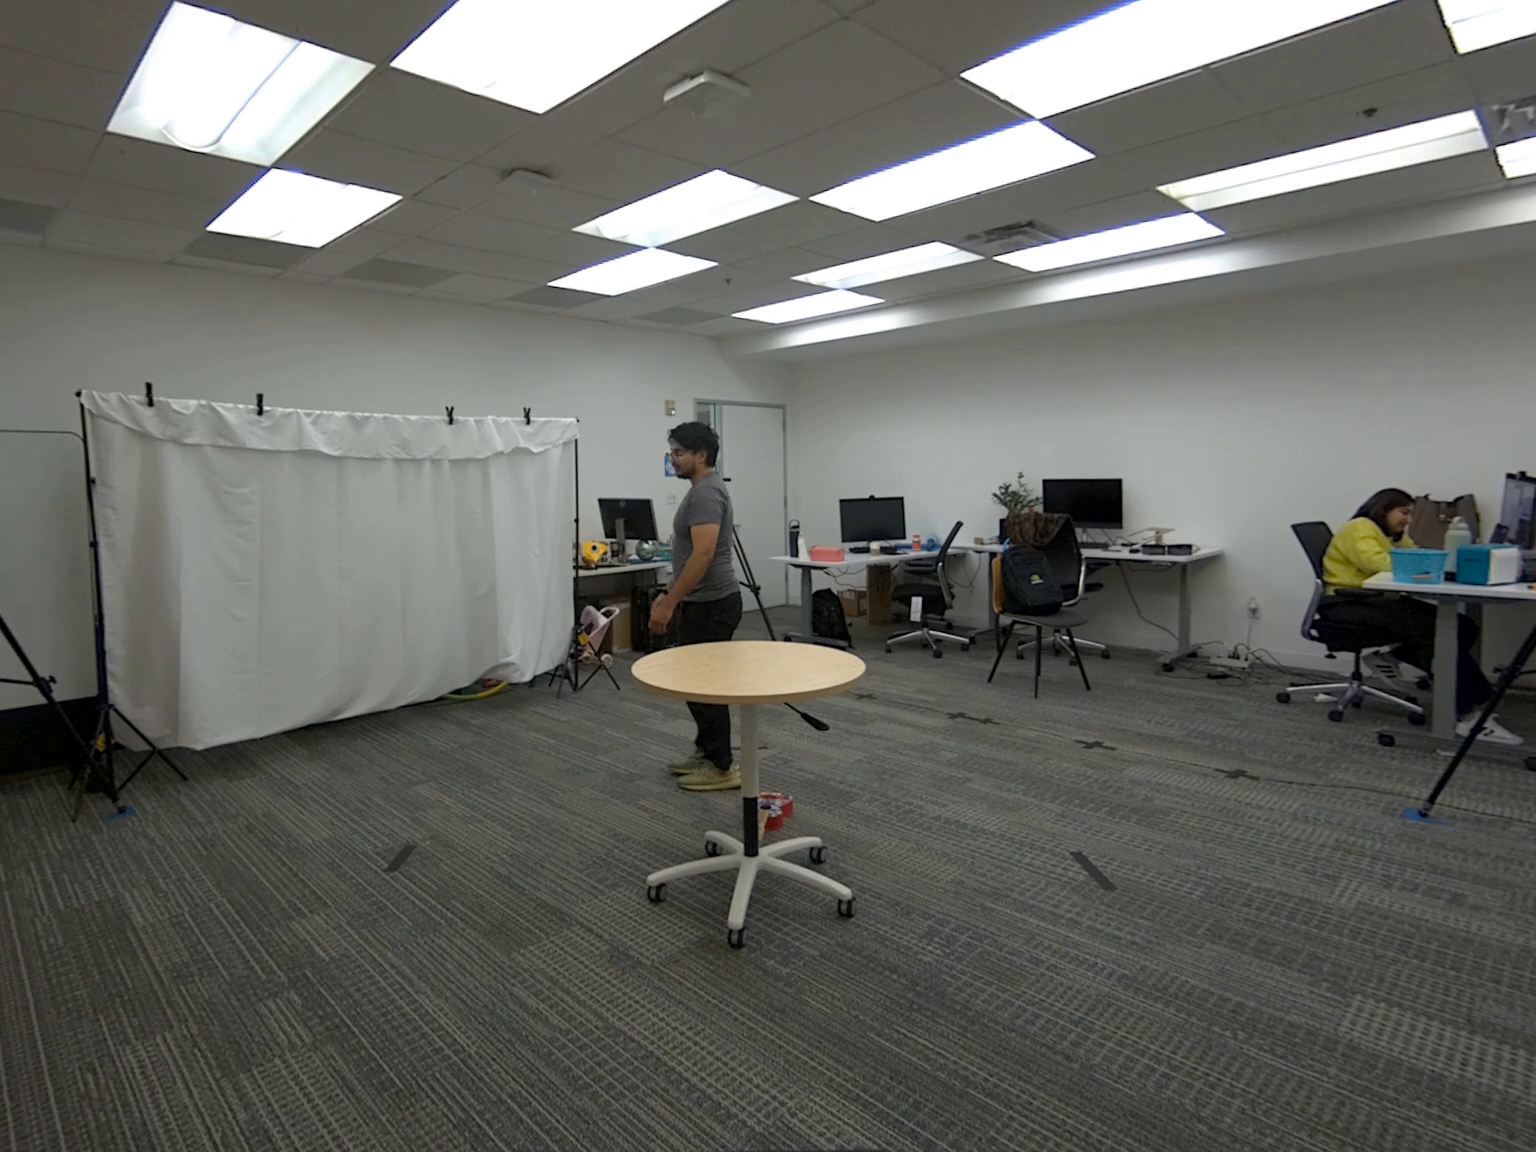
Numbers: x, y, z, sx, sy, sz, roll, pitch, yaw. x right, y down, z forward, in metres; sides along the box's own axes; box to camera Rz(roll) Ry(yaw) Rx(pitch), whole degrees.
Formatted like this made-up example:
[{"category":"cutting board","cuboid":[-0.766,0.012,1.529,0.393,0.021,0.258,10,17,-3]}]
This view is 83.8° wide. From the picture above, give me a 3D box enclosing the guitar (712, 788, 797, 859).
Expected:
[{"category":"guitar","cuboid":[-0.044,0.969,3.404,0.196,0.070,0.491,1,6,17]}]
